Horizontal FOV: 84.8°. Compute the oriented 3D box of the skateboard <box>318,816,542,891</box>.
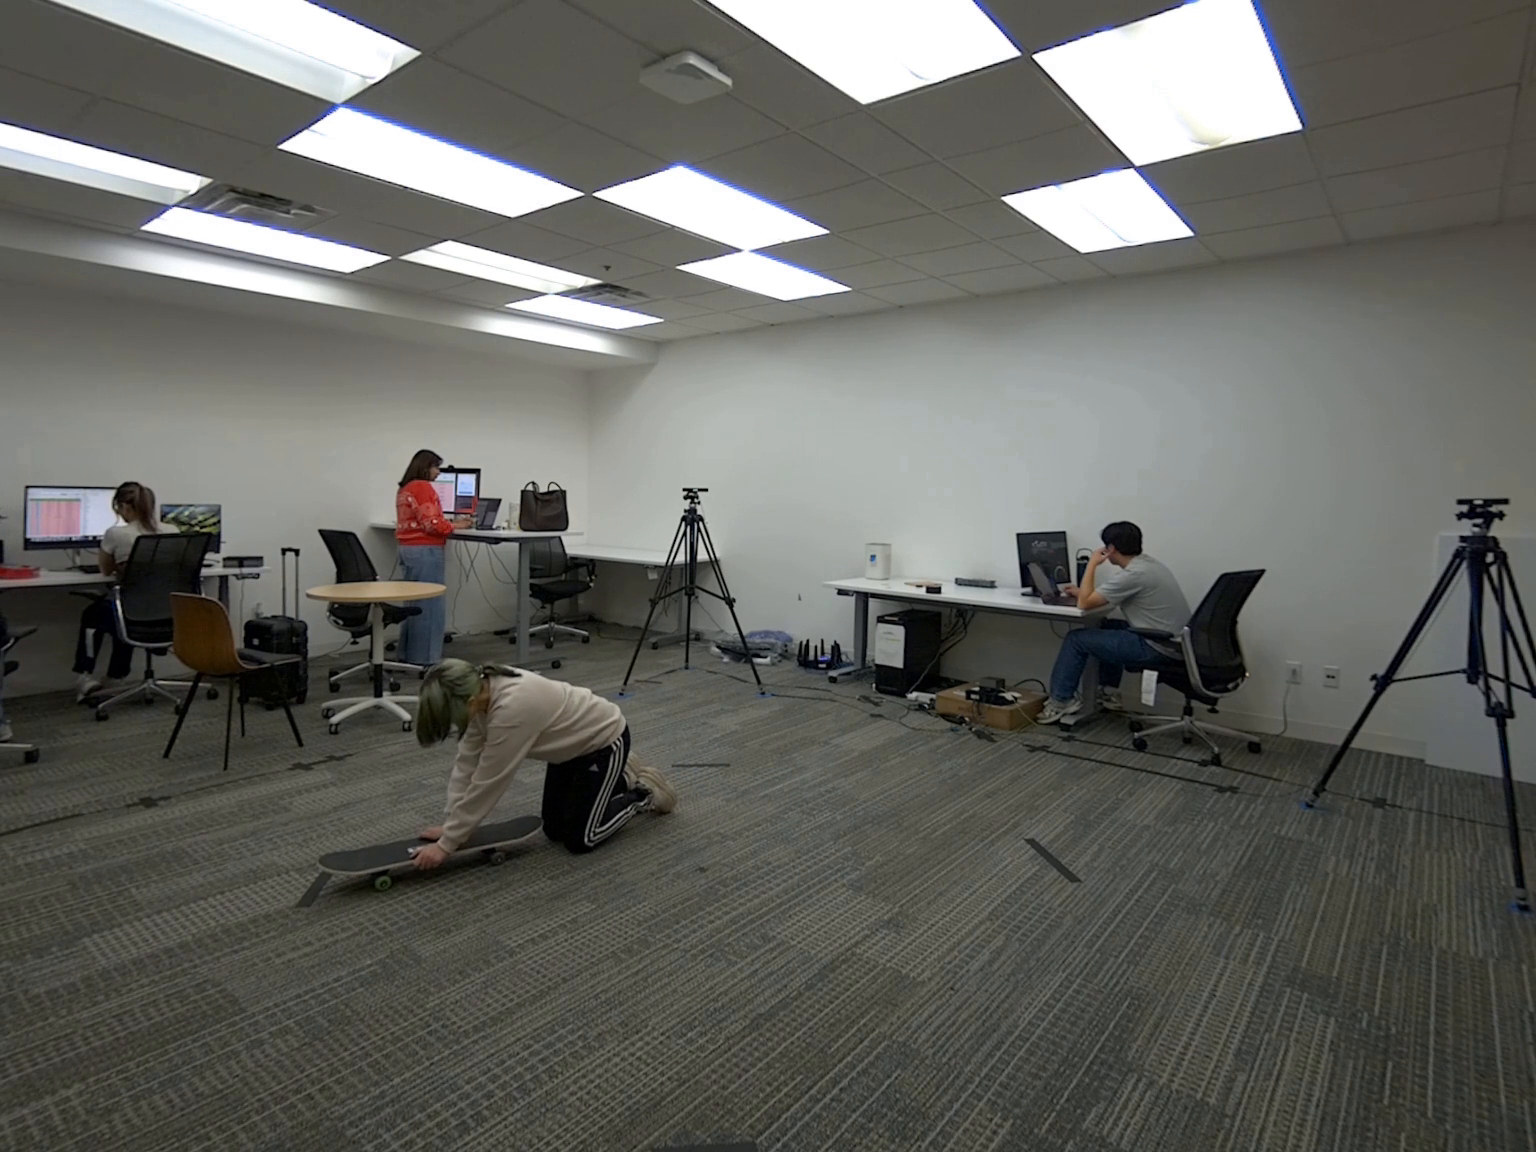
[{"bbox_3d":[-1.208,1.006,3.077,0.764,0.110,0.199,-2,6,-32],"label":"skateboard"}]
